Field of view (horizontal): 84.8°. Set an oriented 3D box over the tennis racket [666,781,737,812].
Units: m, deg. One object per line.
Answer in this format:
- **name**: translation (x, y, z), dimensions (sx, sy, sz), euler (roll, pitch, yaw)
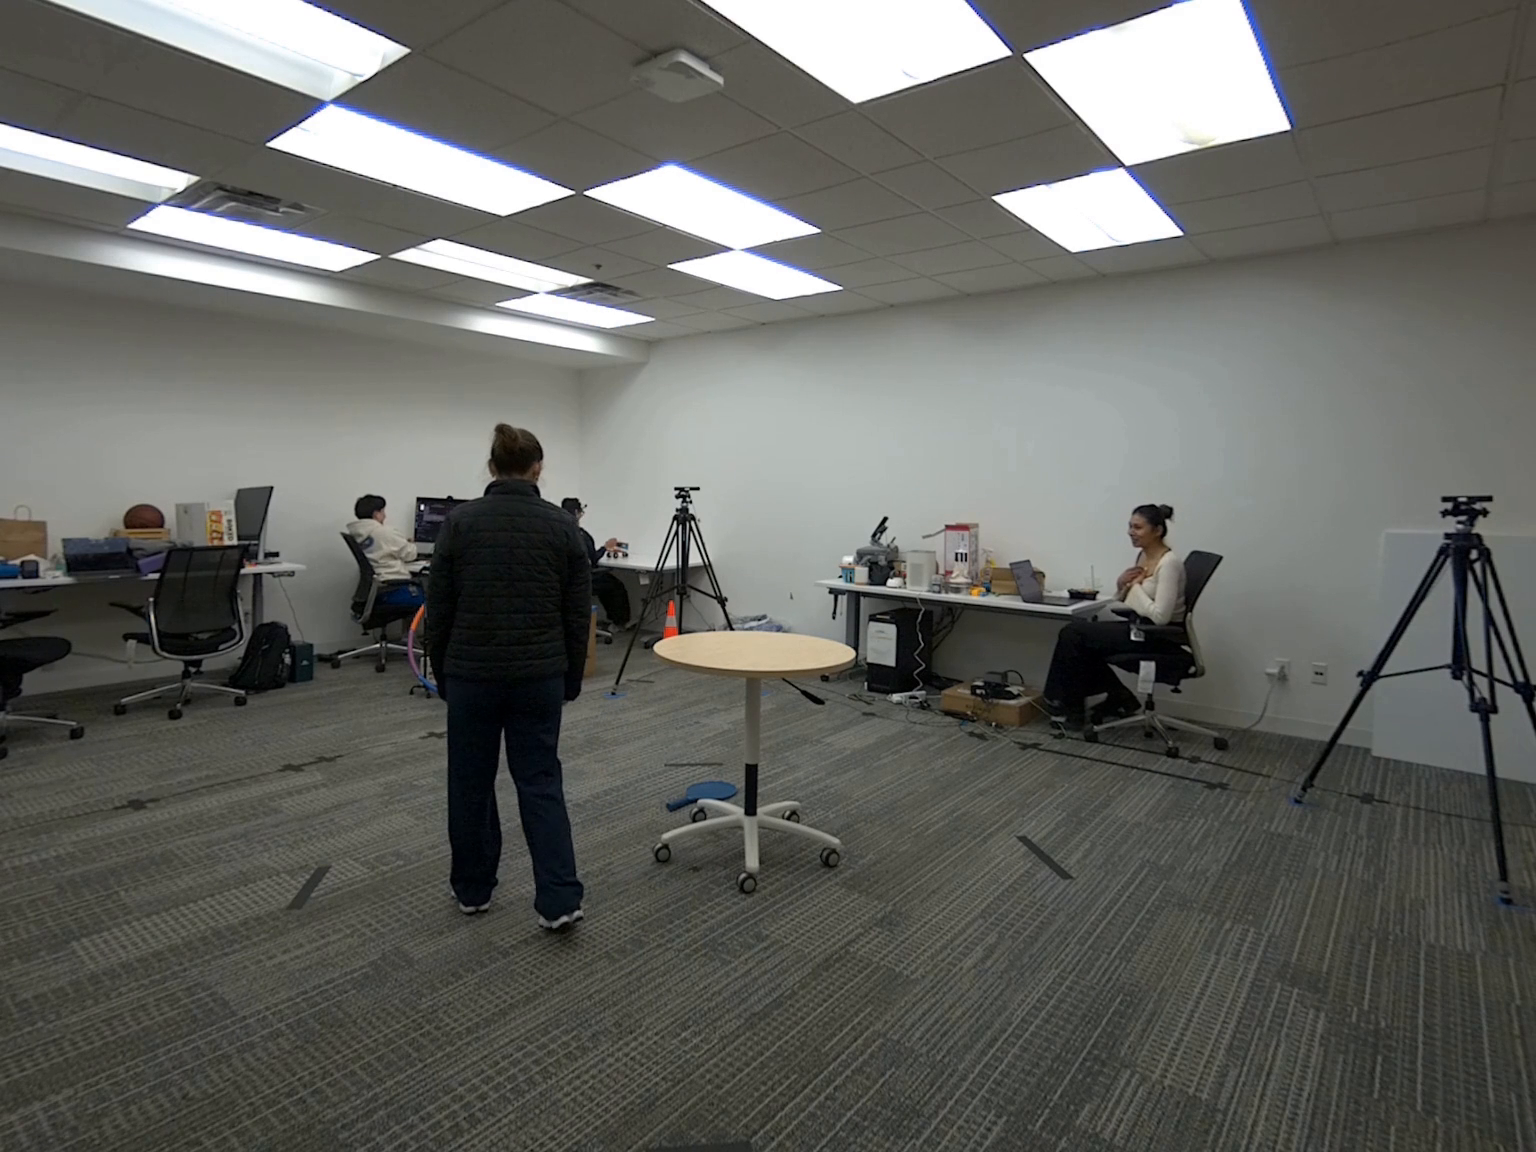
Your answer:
- **tennis racket**: translation (-0.286, 0.979, 3.836), dimensions (0.221, 0.031, 0.420), euler (5, 6, 38)
